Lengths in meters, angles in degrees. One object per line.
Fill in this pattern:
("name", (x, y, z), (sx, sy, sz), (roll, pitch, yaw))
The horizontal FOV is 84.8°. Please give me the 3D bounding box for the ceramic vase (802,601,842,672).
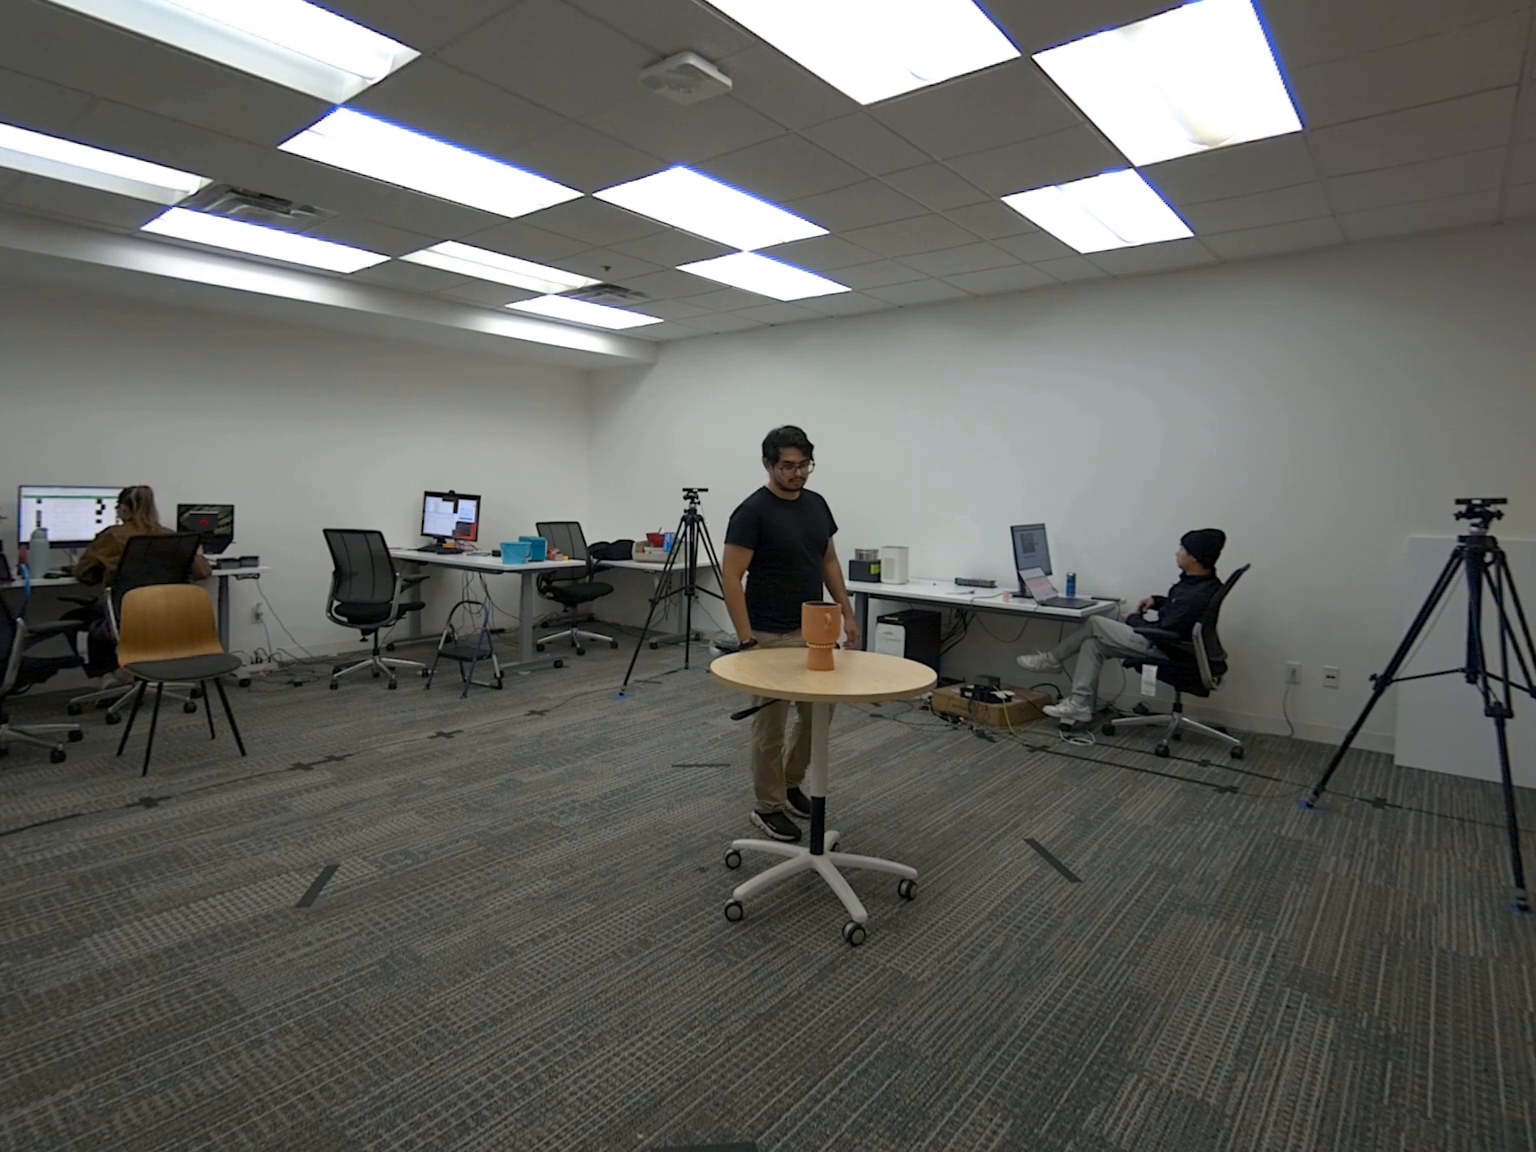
("ceramic vase", (0.171, 0.202, 2.916), (0.138, 0.219, 0.155), (2, 4, 26))
